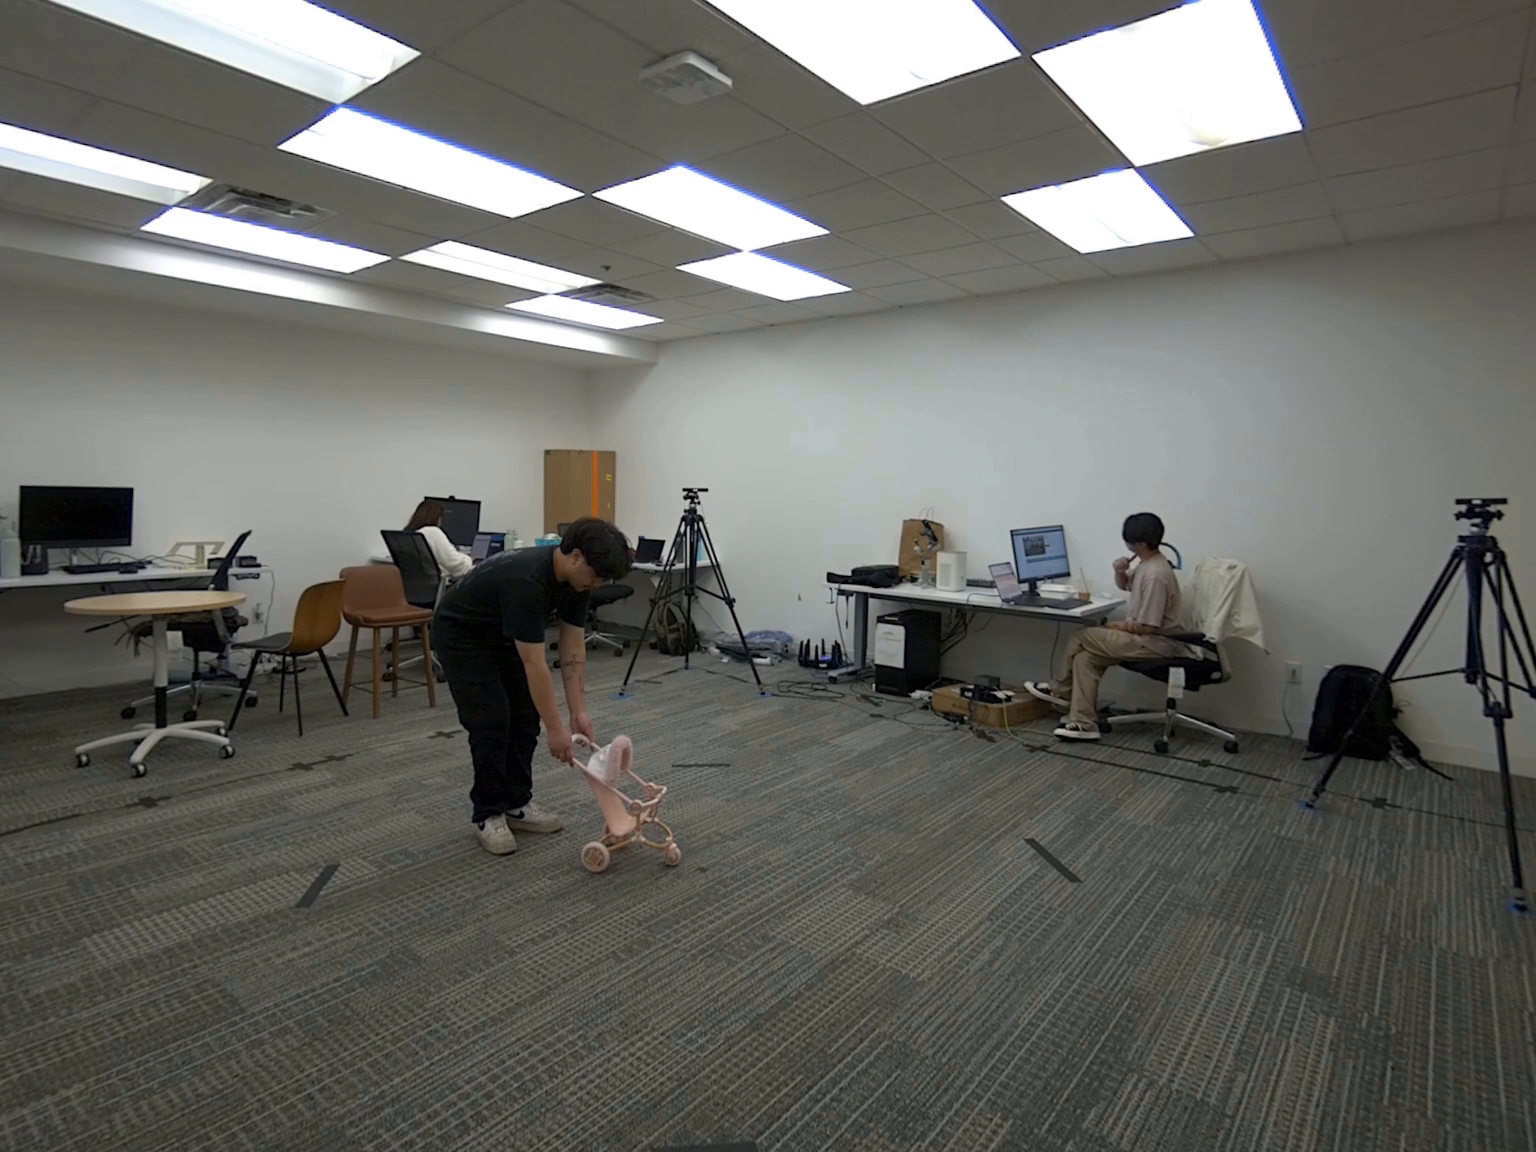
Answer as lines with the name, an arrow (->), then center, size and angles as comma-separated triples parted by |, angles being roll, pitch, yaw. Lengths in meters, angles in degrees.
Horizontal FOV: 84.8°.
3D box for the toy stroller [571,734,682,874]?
toy stroller -> -0.550, 0.834, 3.164 | 0.346, 0.535, 0.278 | -14, 0, 15
